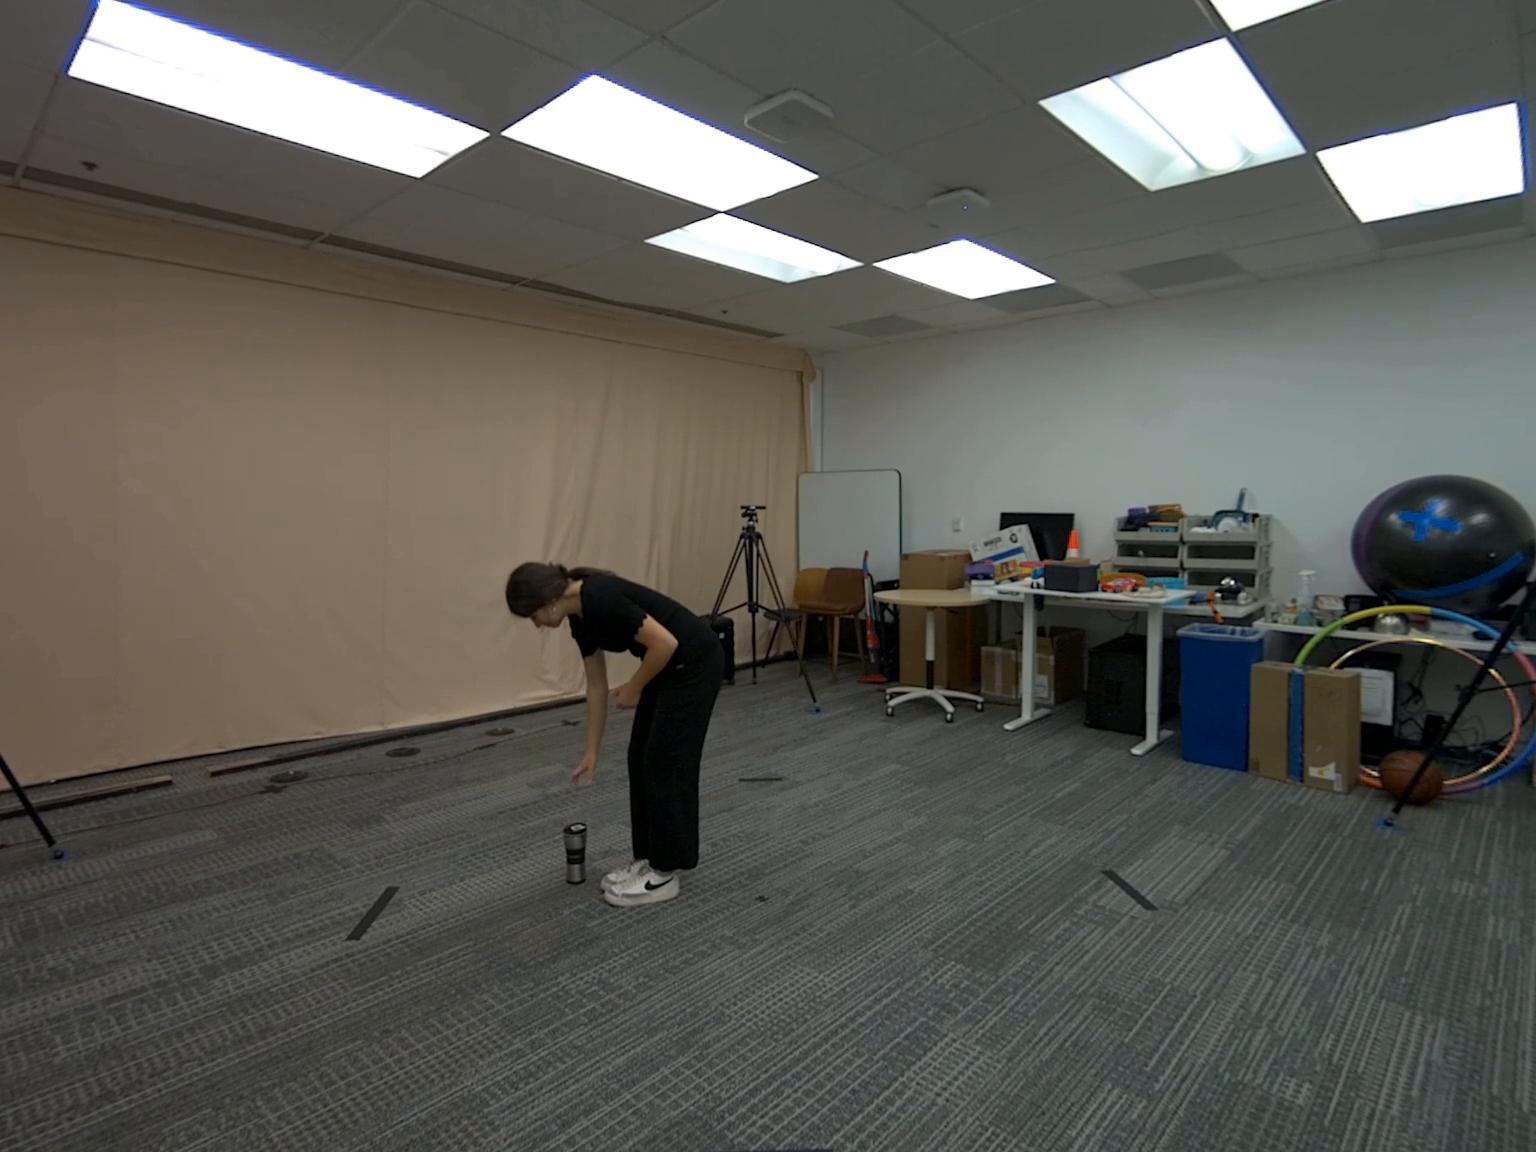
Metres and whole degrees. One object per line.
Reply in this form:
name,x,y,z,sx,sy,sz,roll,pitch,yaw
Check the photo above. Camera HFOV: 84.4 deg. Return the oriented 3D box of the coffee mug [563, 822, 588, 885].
coffee mug,-0.706,1.044,3.159,0.090,0.203,0.118,-3,2,33
